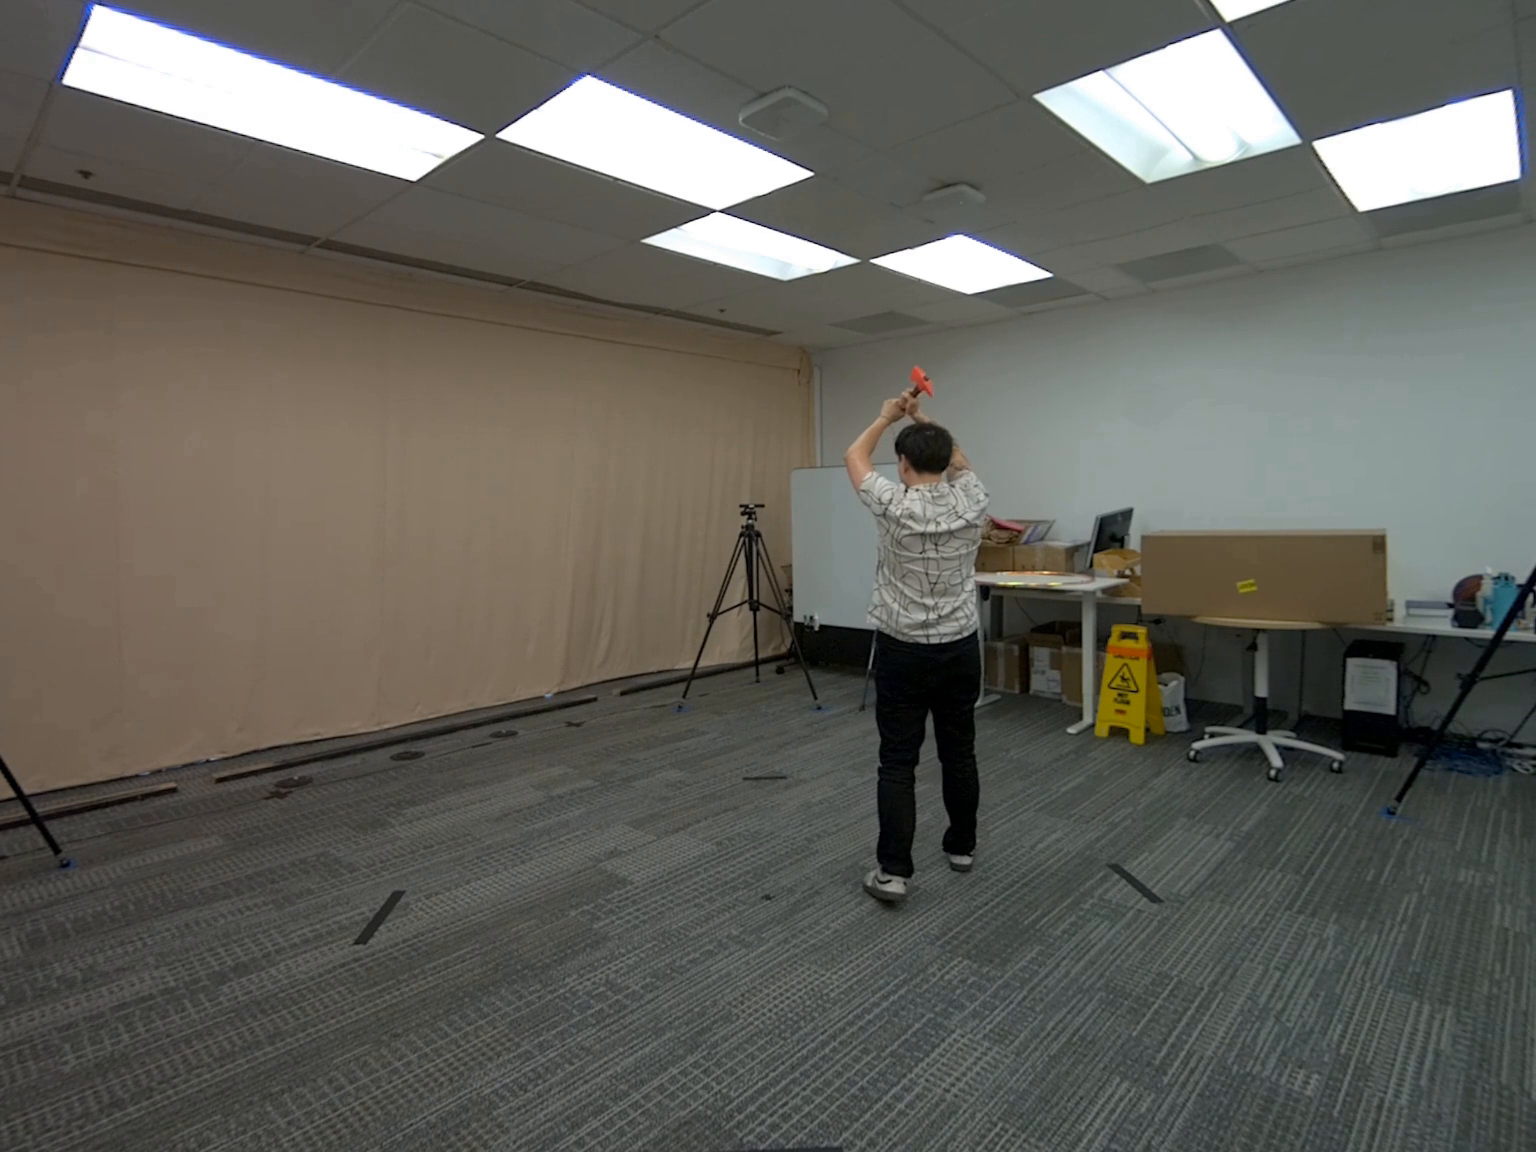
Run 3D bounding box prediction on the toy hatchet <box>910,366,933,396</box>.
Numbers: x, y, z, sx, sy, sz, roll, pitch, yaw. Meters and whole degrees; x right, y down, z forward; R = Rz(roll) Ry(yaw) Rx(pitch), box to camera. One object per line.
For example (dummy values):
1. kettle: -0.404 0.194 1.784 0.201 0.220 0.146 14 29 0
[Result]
1. toy hatchet: 0.533 -0.703 3.192 0.029 0.131 0.275 -19 3 -22
